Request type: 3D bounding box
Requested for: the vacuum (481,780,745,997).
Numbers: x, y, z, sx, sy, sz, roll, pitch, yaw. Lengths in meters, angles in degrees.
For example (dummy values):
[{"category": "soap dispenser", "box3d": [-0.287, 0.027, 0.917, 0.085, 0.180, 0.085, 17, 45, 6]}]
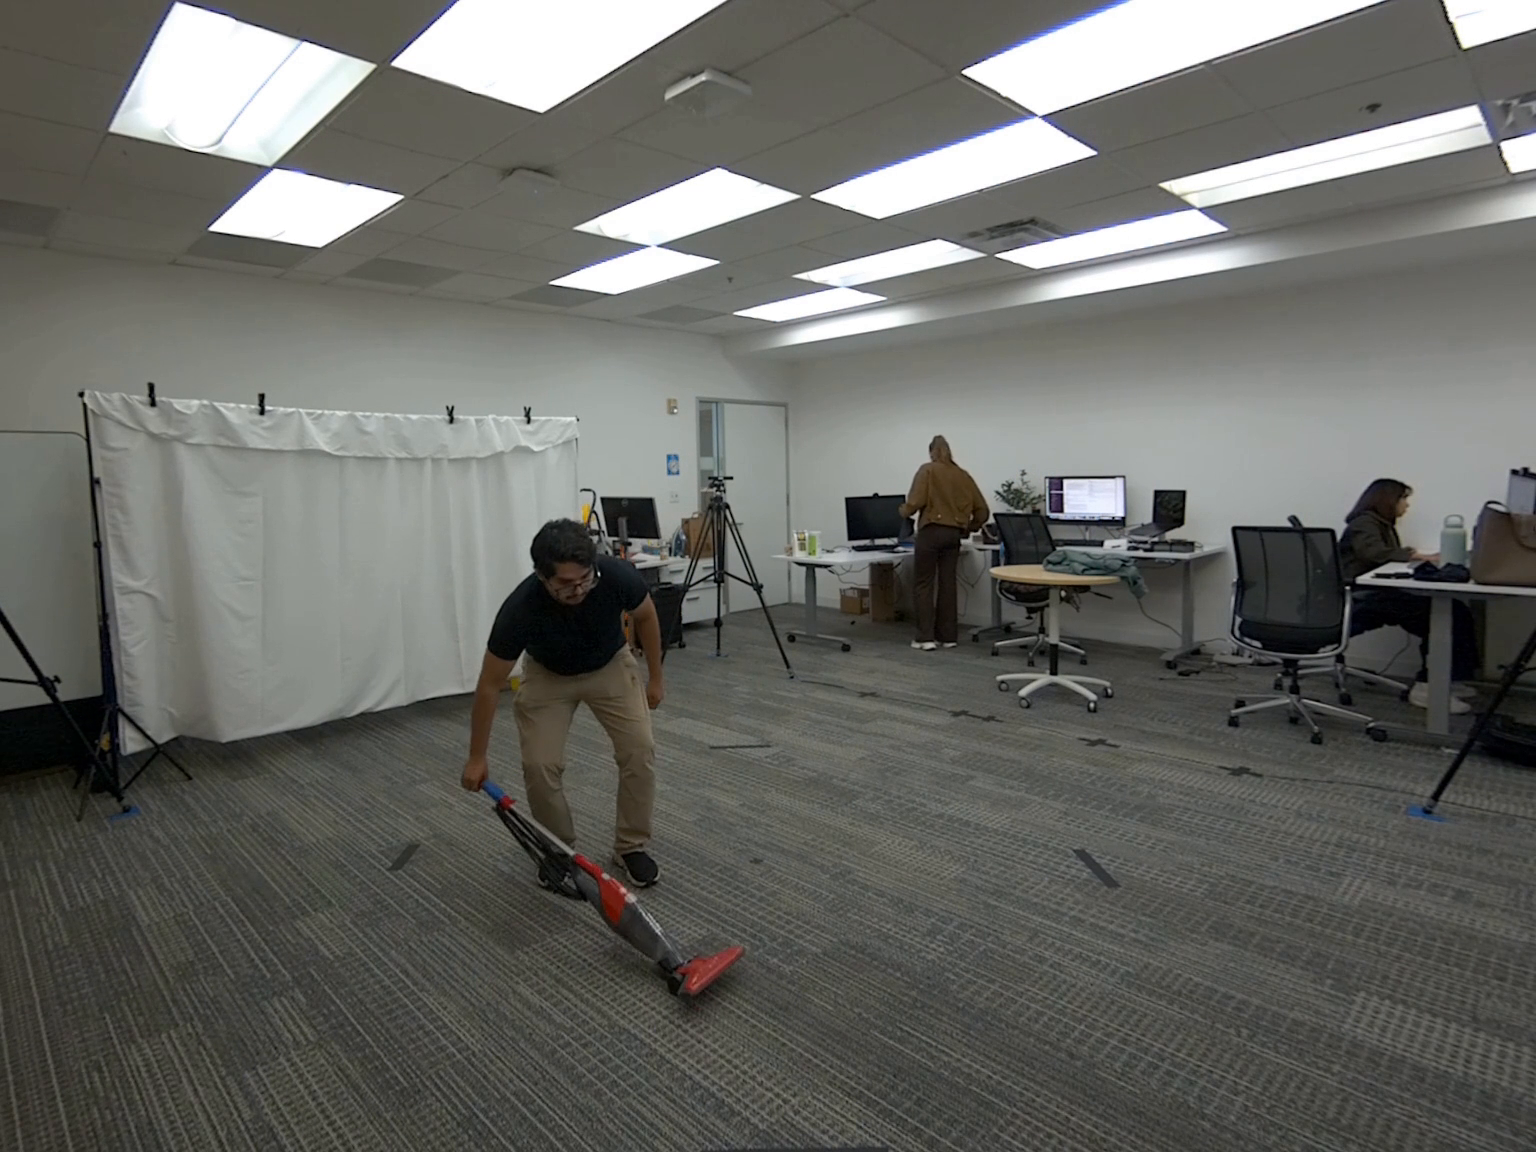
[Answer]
[{"category": "vacuum", "box3d": [-0.587, 0.907, 2.603, 1.085, 0.143, 0.246, 24, 17, 31]}]
